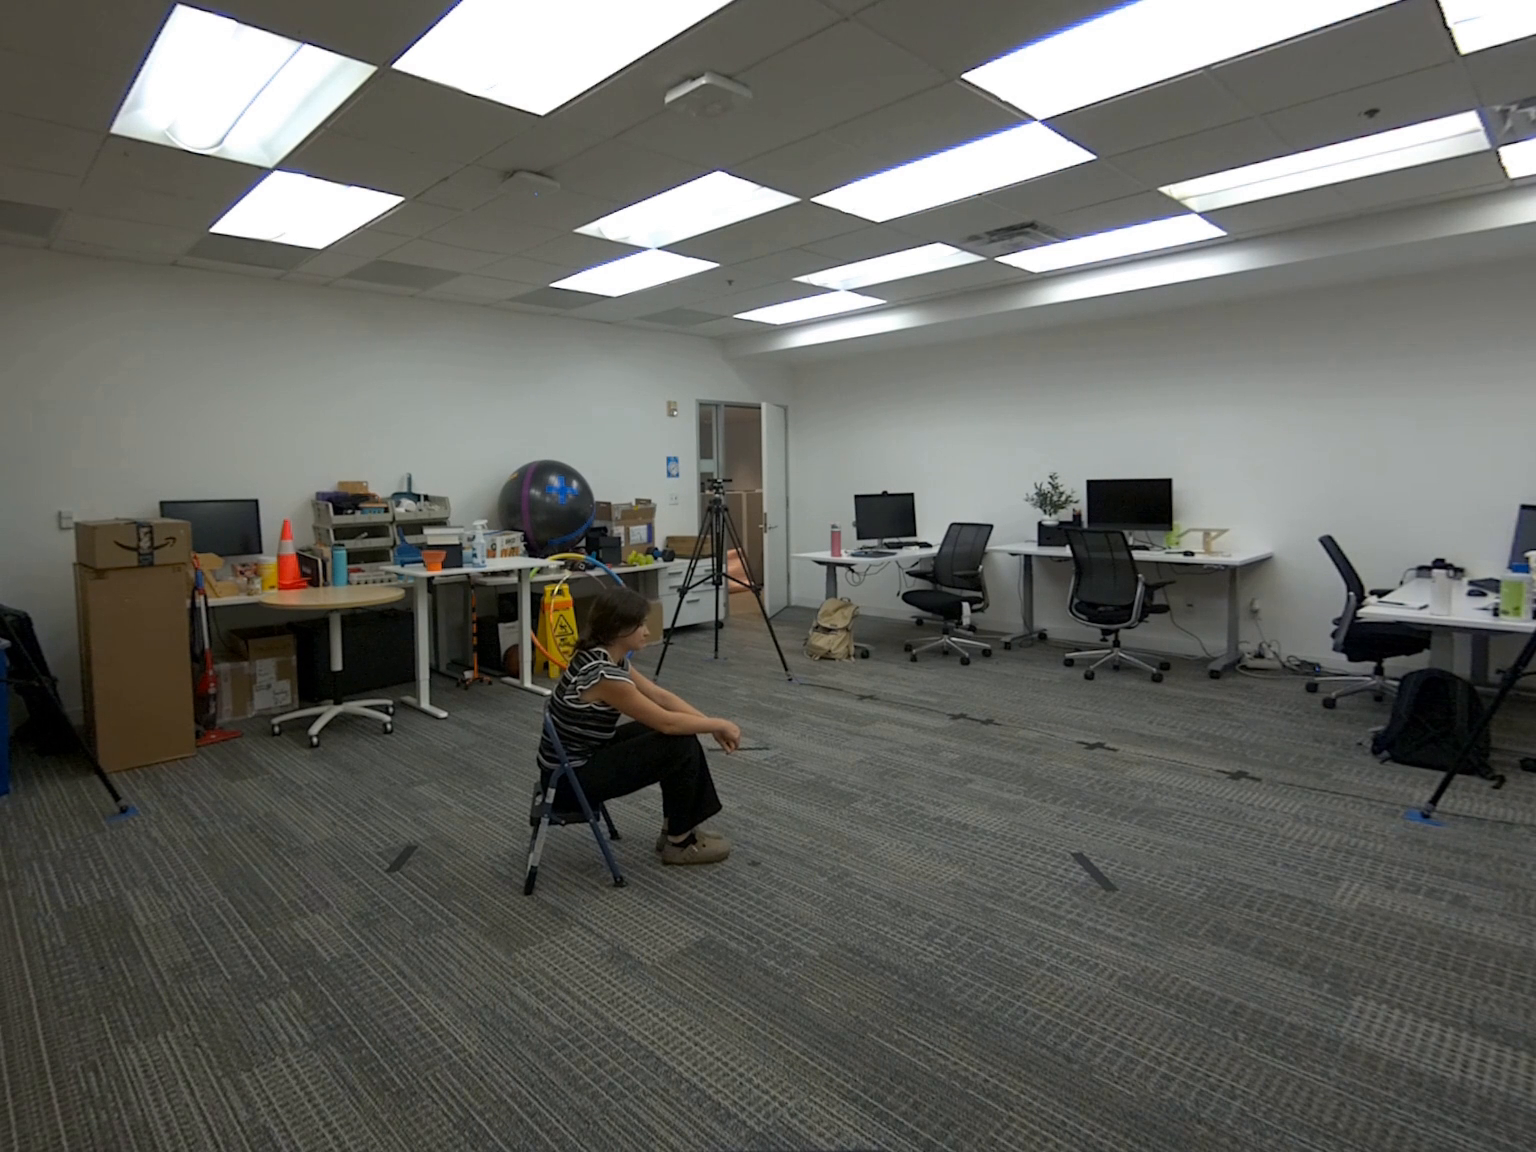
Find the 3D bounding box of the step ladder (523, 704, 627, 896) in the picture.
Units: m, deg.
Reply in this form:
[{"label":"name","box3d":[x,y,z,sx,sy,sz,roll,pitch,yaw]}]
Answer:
[{"label":"step ladder","box3d":[-0.706,0.762,3.106,0.346,0.604,0.436,-2,3,-12]}]
